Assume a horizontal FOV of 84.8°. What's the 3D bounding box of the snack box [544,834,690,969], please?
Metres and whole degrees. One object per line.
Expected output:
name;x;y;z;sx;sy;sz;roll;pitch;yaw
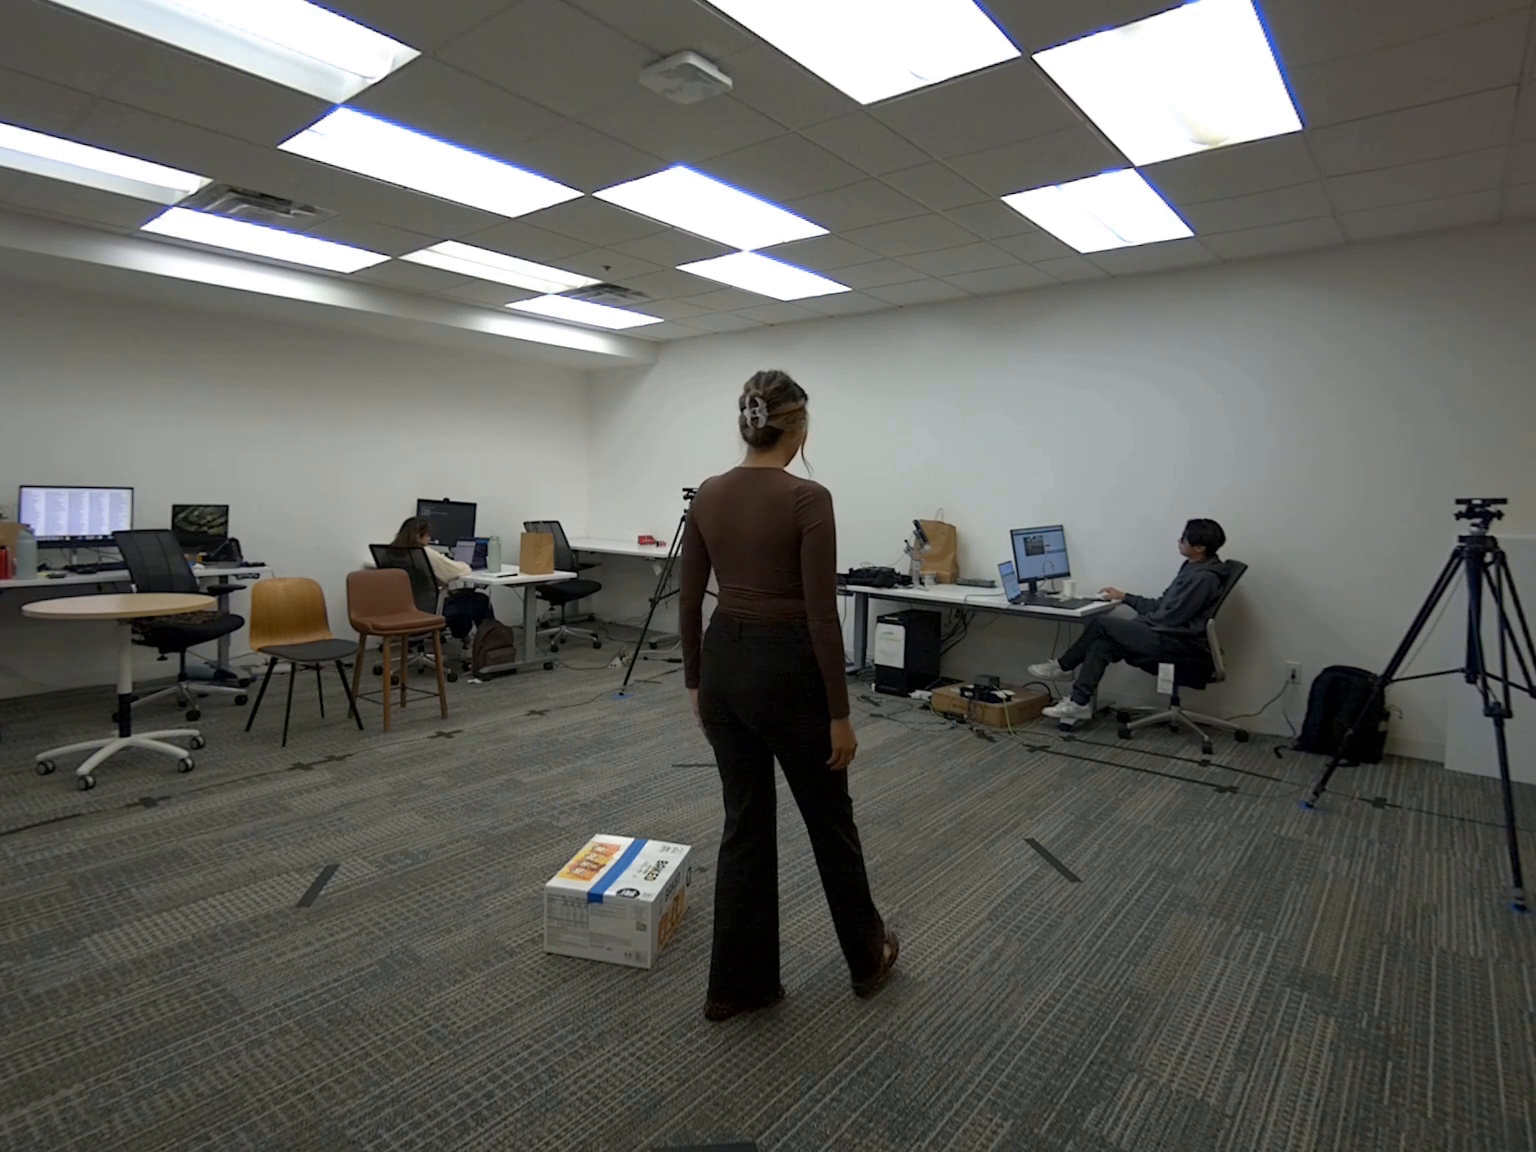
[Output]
snack box;-0.469;1.005;2.671;0.345;0.205;0.401;2;5;13
